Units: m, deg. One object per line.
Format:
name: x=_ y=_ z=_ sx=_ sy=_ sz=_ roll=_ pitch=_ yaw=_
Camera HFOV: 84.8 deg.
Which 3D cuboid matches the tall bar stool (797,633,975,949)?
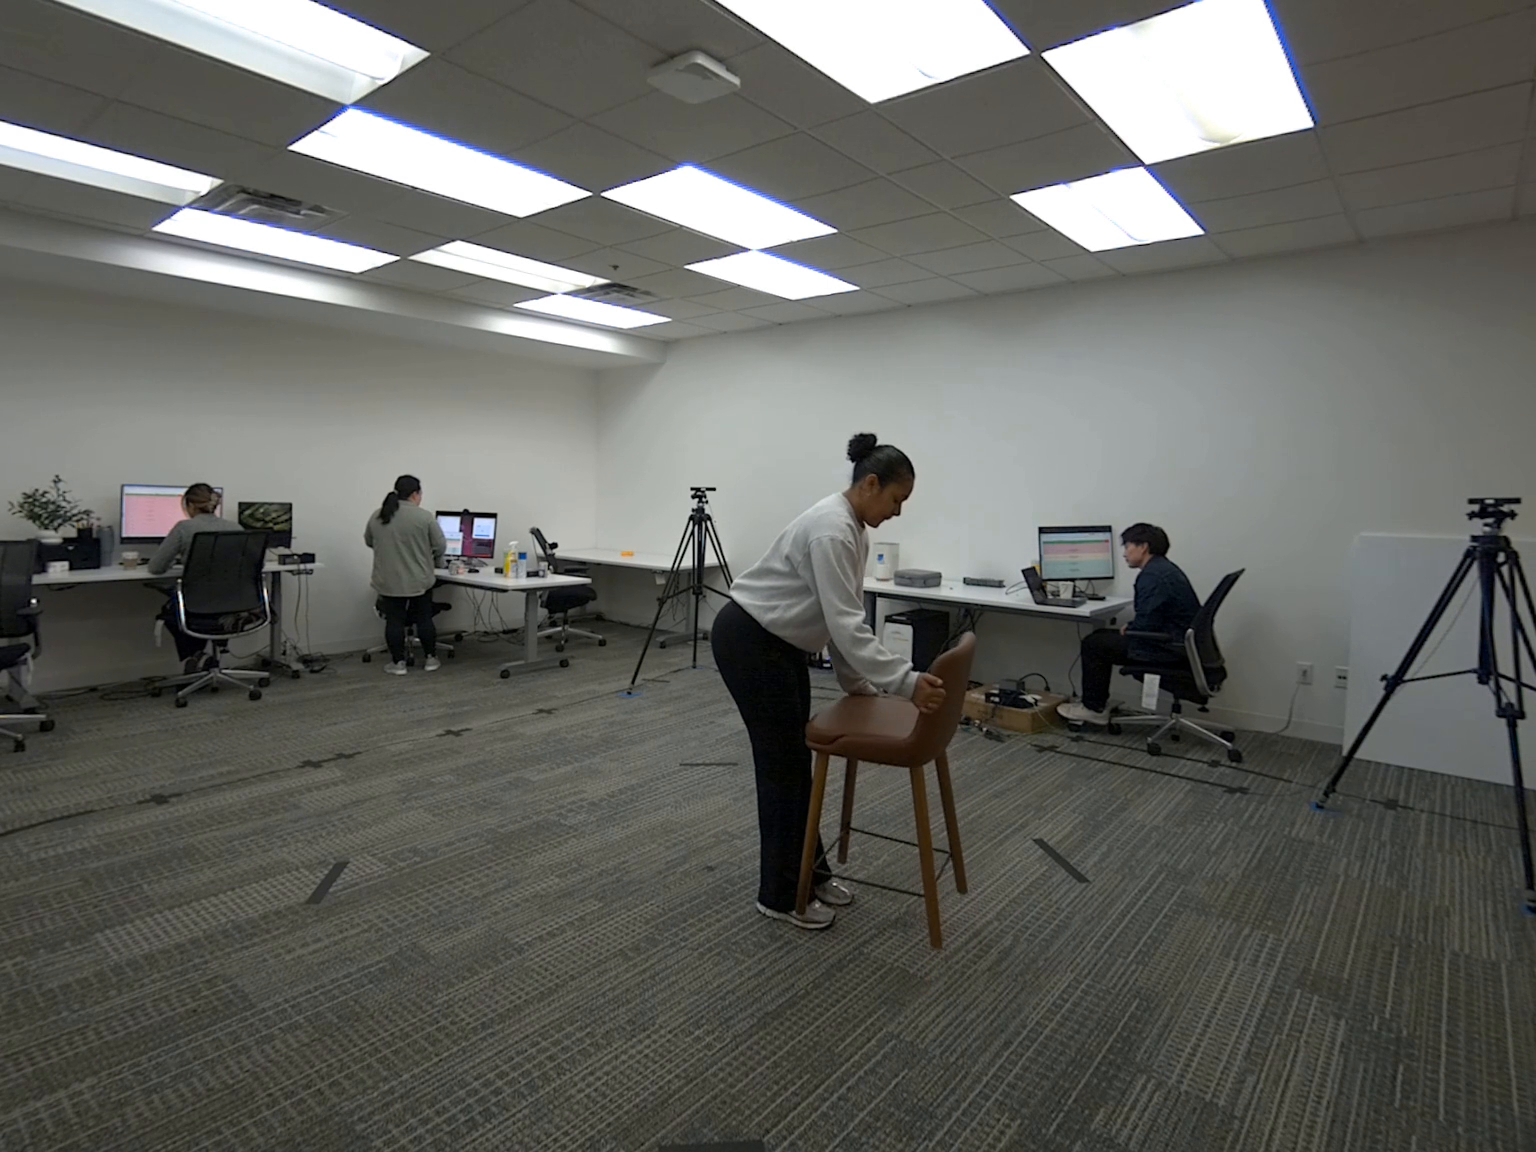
tall bar stool: x=0.376 y=0.619 z=2.691 sx=0.481 sy=0.884 sz=0.446 roll=5 pitch=7 yaw=27
